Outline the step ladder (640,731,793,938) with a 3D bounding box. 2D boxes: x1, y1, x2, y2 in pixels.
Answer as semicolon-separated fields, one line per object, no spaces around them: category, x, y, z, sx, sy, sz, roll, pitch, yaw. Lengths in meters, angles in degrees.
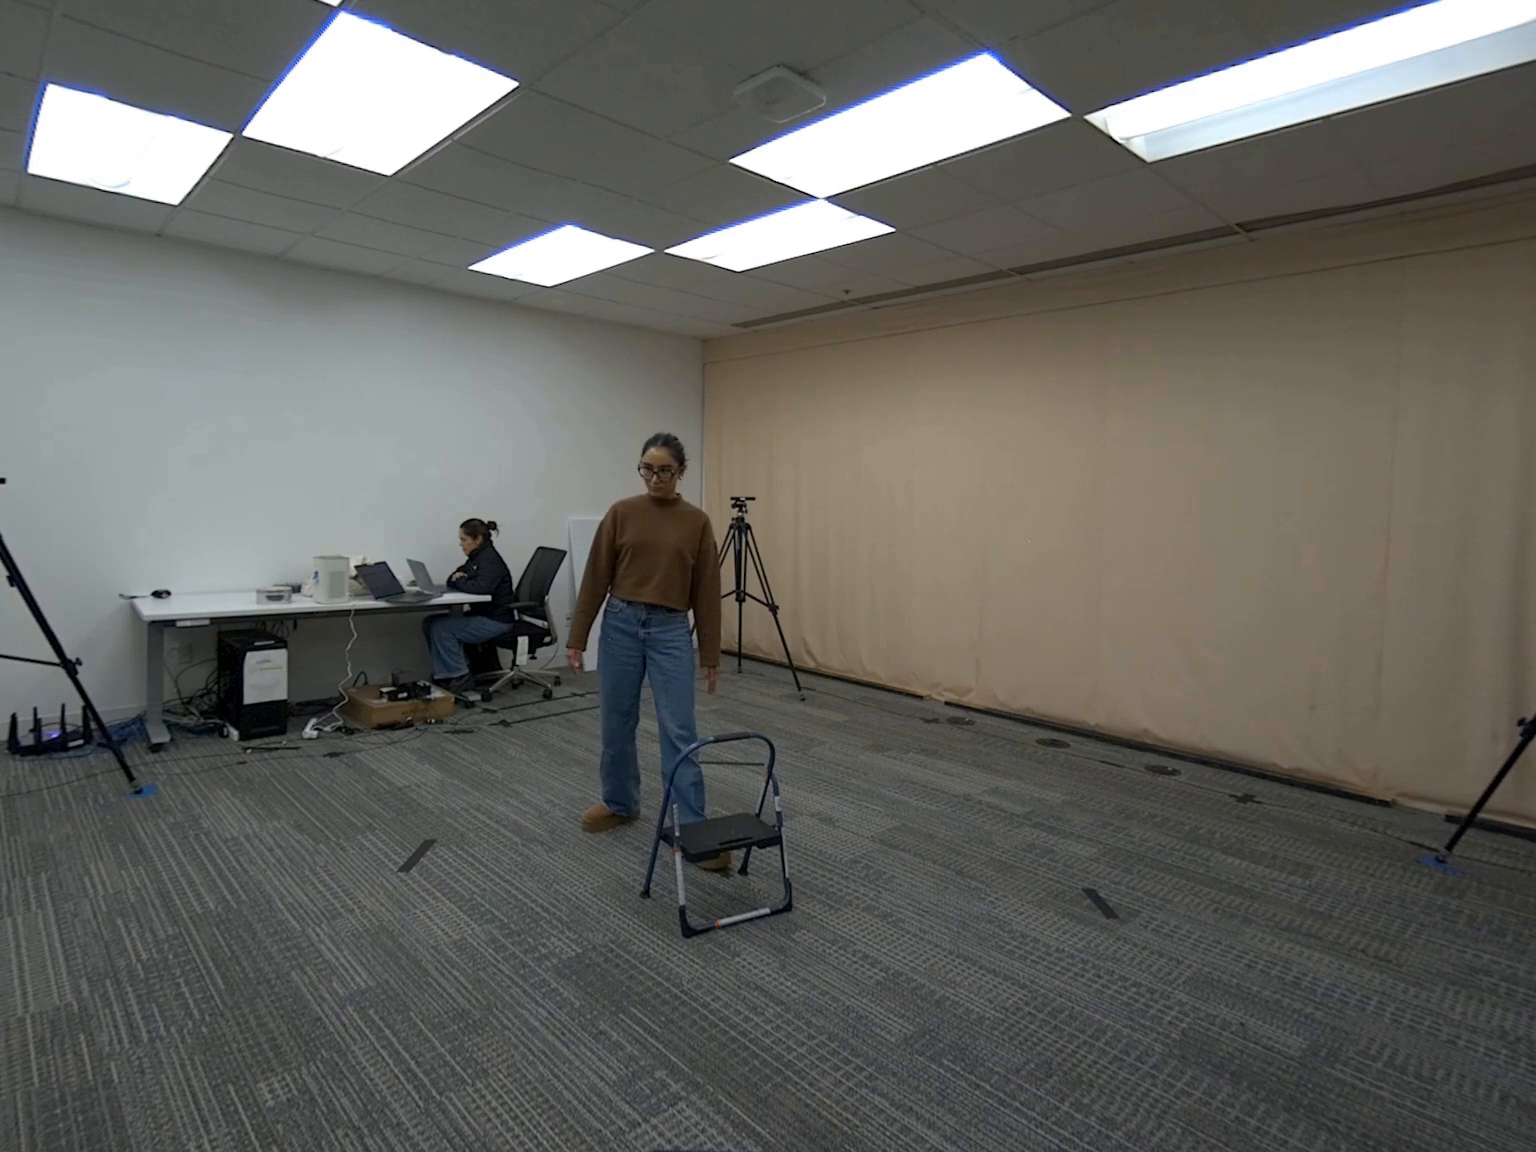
step ladder;-0.176;0.822;2.882;0.422;0.605;0.357;-1;4;-31
